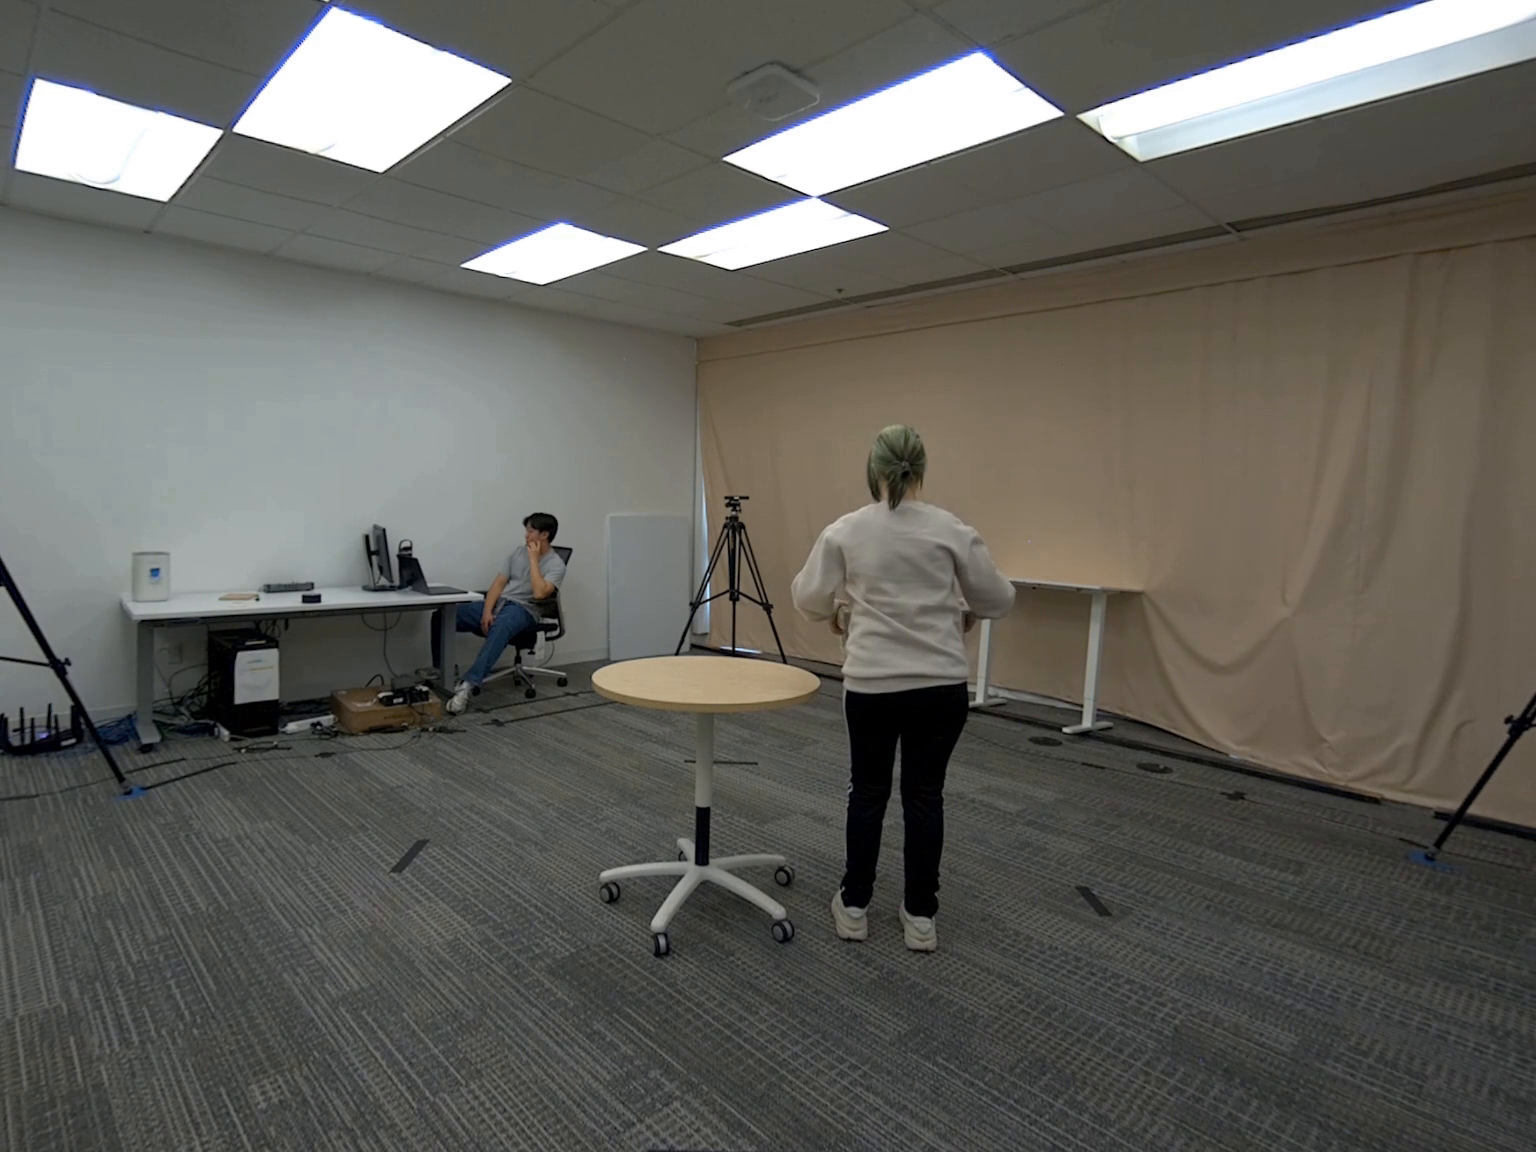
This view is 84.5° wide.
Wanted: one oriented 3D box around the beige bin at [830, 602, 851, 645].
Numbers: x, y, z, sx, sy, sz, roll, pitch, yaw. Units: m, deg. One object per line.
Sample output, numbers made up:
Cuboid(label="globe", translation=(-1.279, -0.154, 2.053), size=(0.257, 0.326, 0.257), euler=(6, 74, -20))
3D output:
Cuboid(label="beige bin", translation=(0.475, 0.198, 3.035), size=(0.423, 0.188, 0.377), euler=(0, 5, 2))
